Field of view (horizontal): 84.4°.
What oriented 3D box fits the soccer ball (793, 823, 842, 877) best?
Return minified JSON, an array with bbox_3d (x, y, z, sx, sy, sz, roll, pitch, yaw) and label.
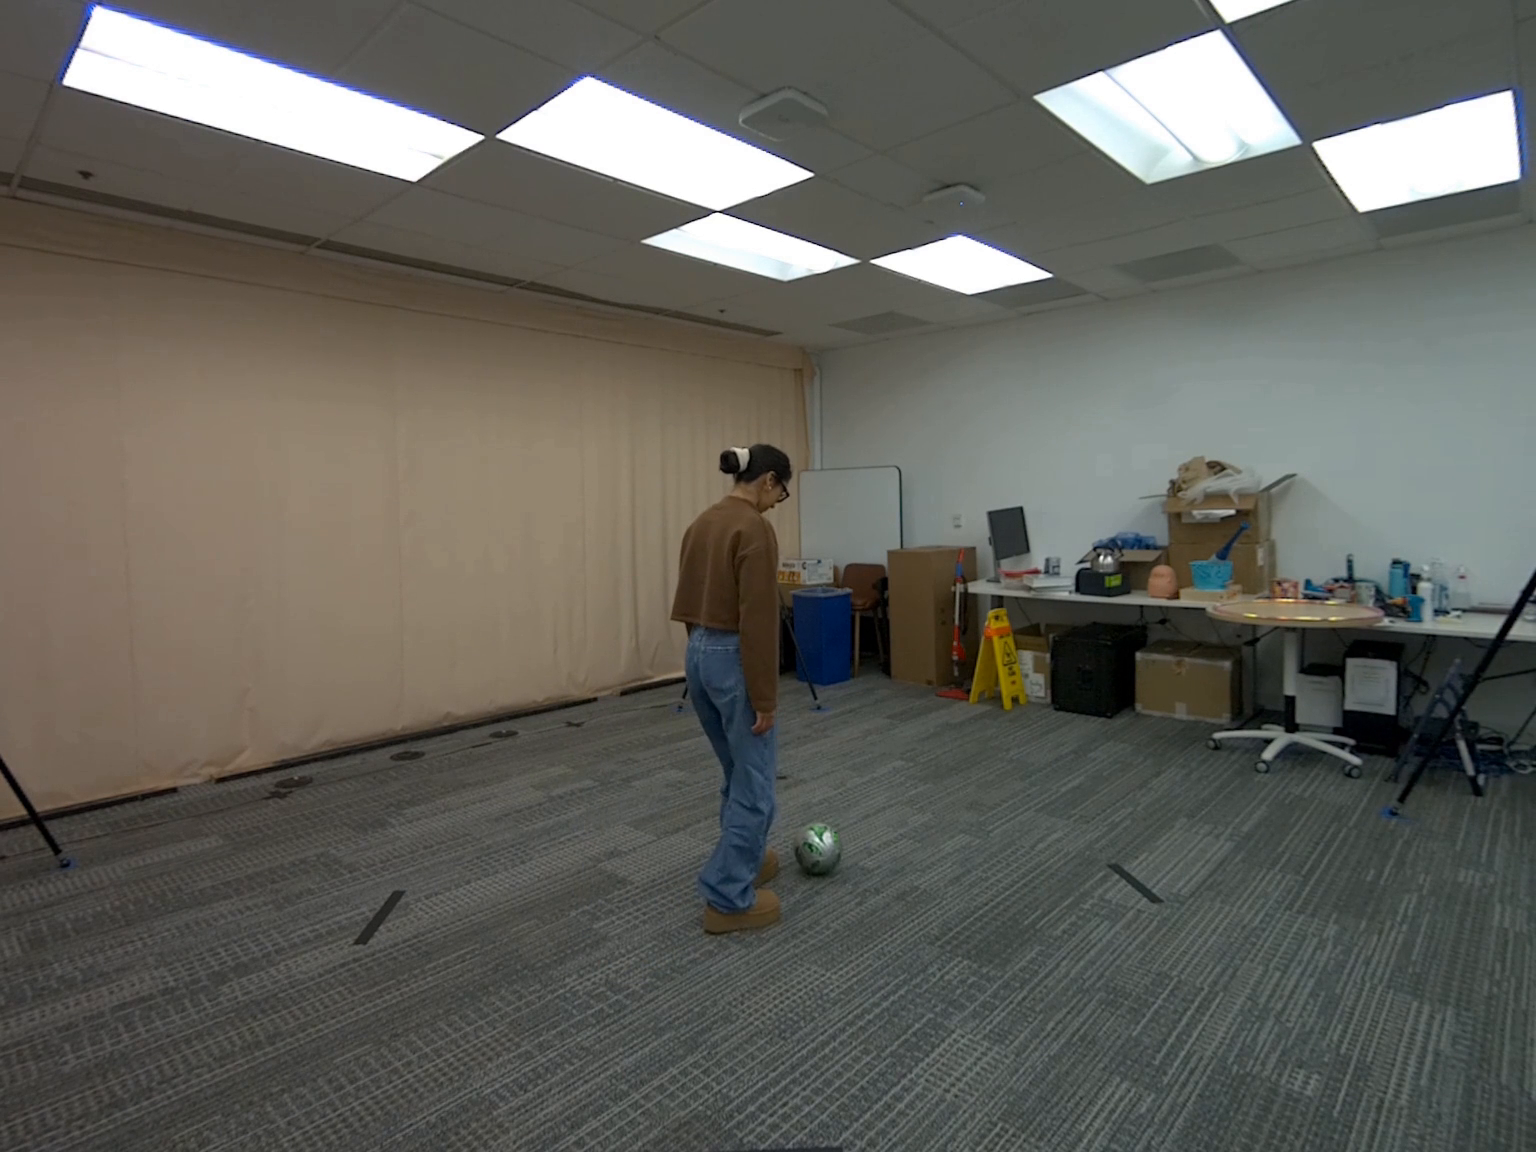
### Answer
[{"bbox_3d":[0.190,1.024,3.172,0.187,0.187,0.188,-1,4,-2],"label":"soccer ball"}]
